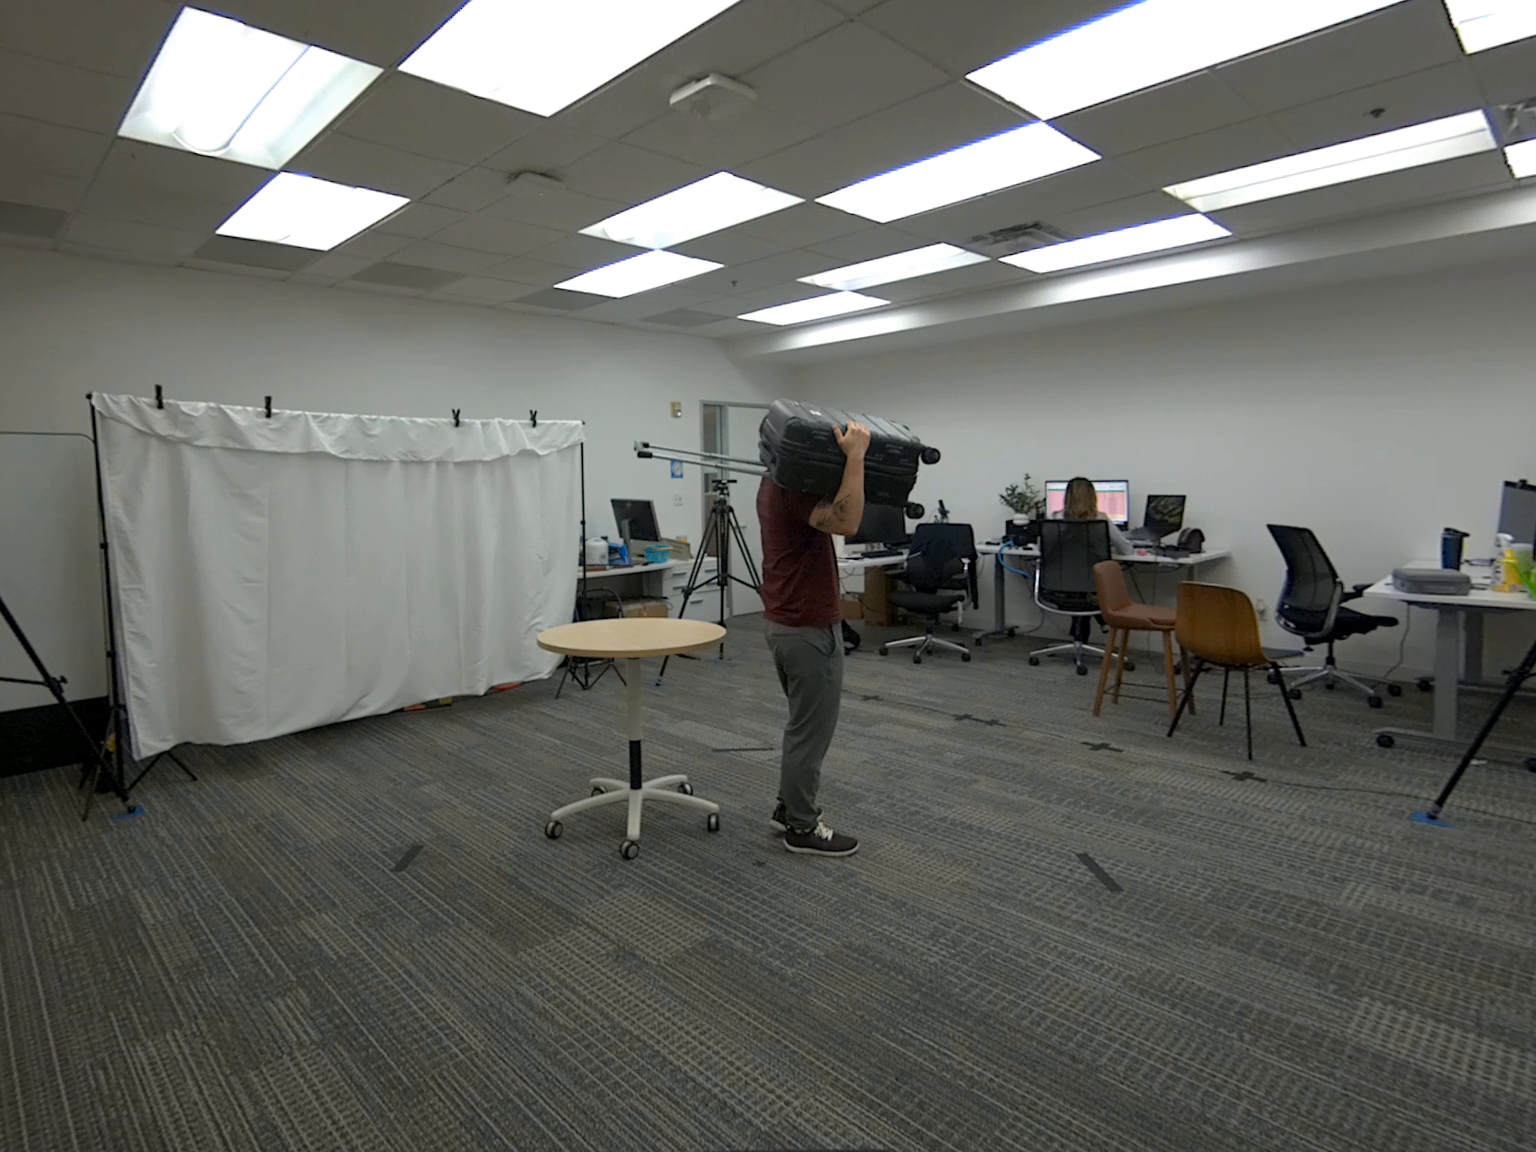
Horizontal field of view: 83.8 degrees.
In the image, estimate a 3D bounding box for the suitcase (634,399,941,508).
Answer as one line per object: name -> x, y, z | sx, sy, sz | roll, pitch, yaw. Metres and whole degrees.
suitcase -> 0.063, -0.454, 2.906 | 0.964, 0.254, 0.395 | 9, 22, -13
